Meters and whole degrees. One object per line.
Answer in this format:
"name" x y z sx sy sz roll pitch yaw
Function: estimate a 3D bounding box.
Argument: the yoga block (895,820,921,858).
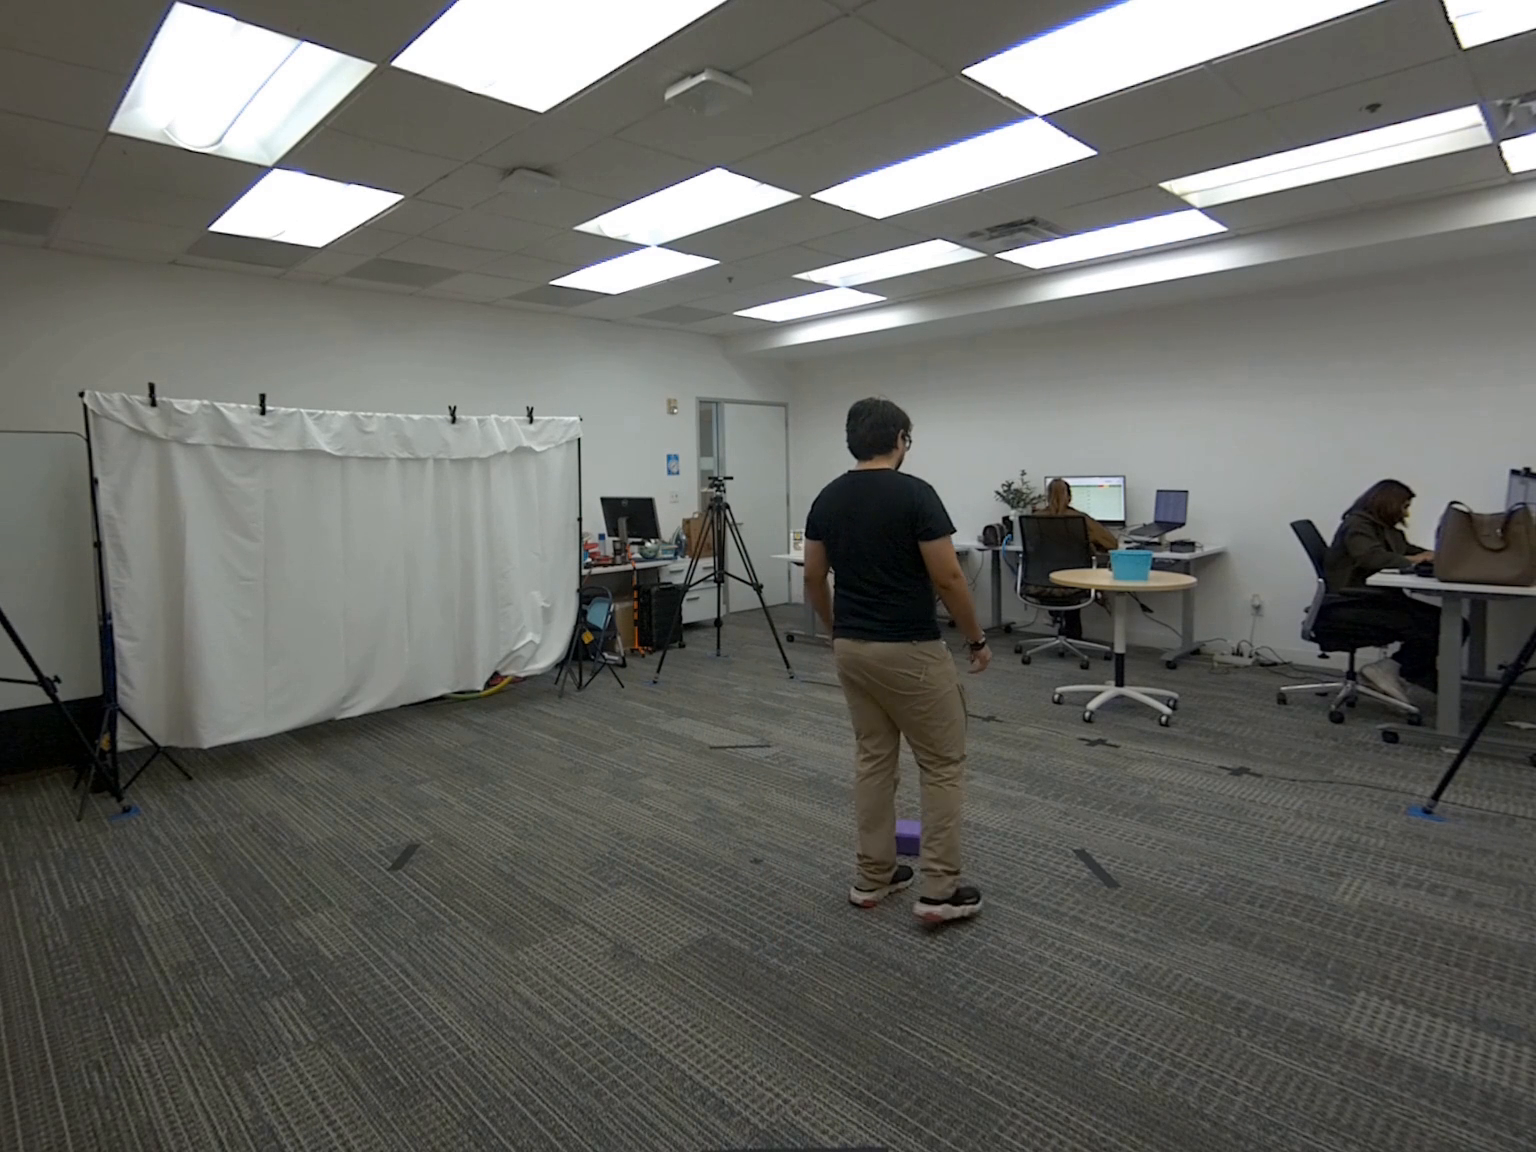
"yoga block" 0.538 0.979 3.192 0.233 0.076 0.147 0 6 15
